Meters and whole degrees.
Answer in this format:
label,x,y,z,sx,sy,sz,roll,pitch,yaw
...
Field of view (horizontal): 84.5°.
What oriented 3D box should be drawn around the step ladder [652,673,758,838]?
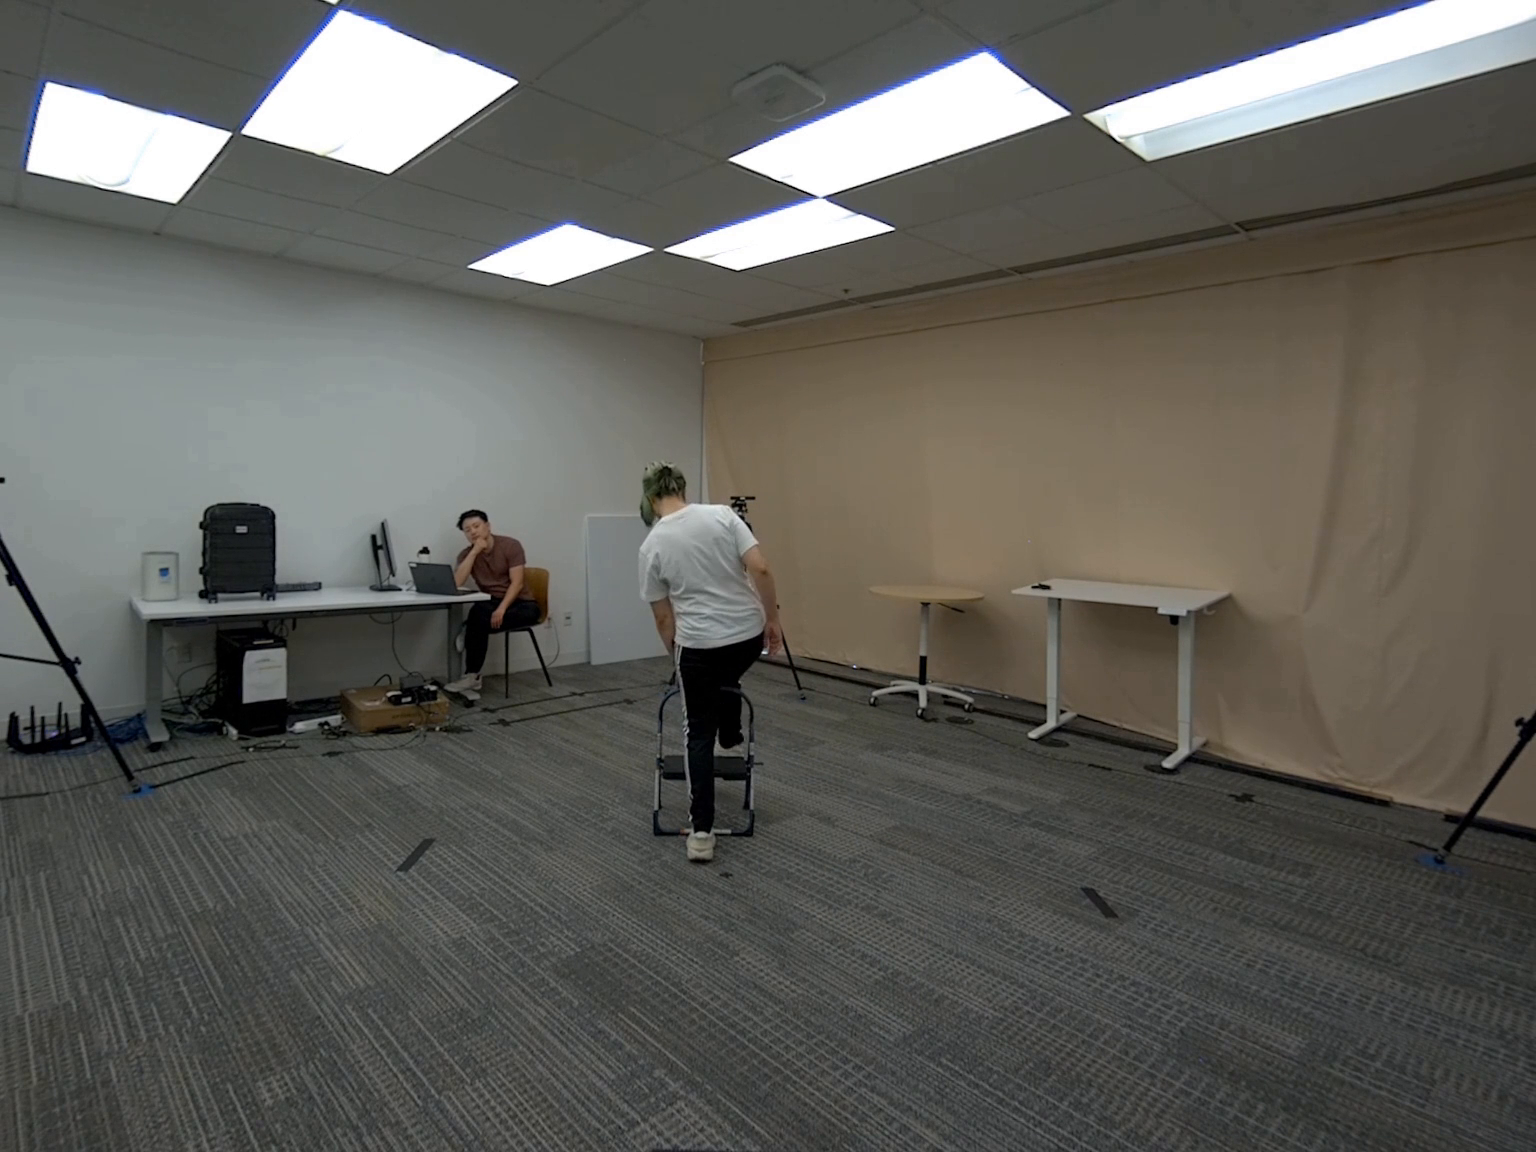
label,x,y,z,sx,sy,sz,roll,pitch,yaw
step ladder,-0.281,0.756,3.617,0.429,0.605,0.351,1,3,-4
